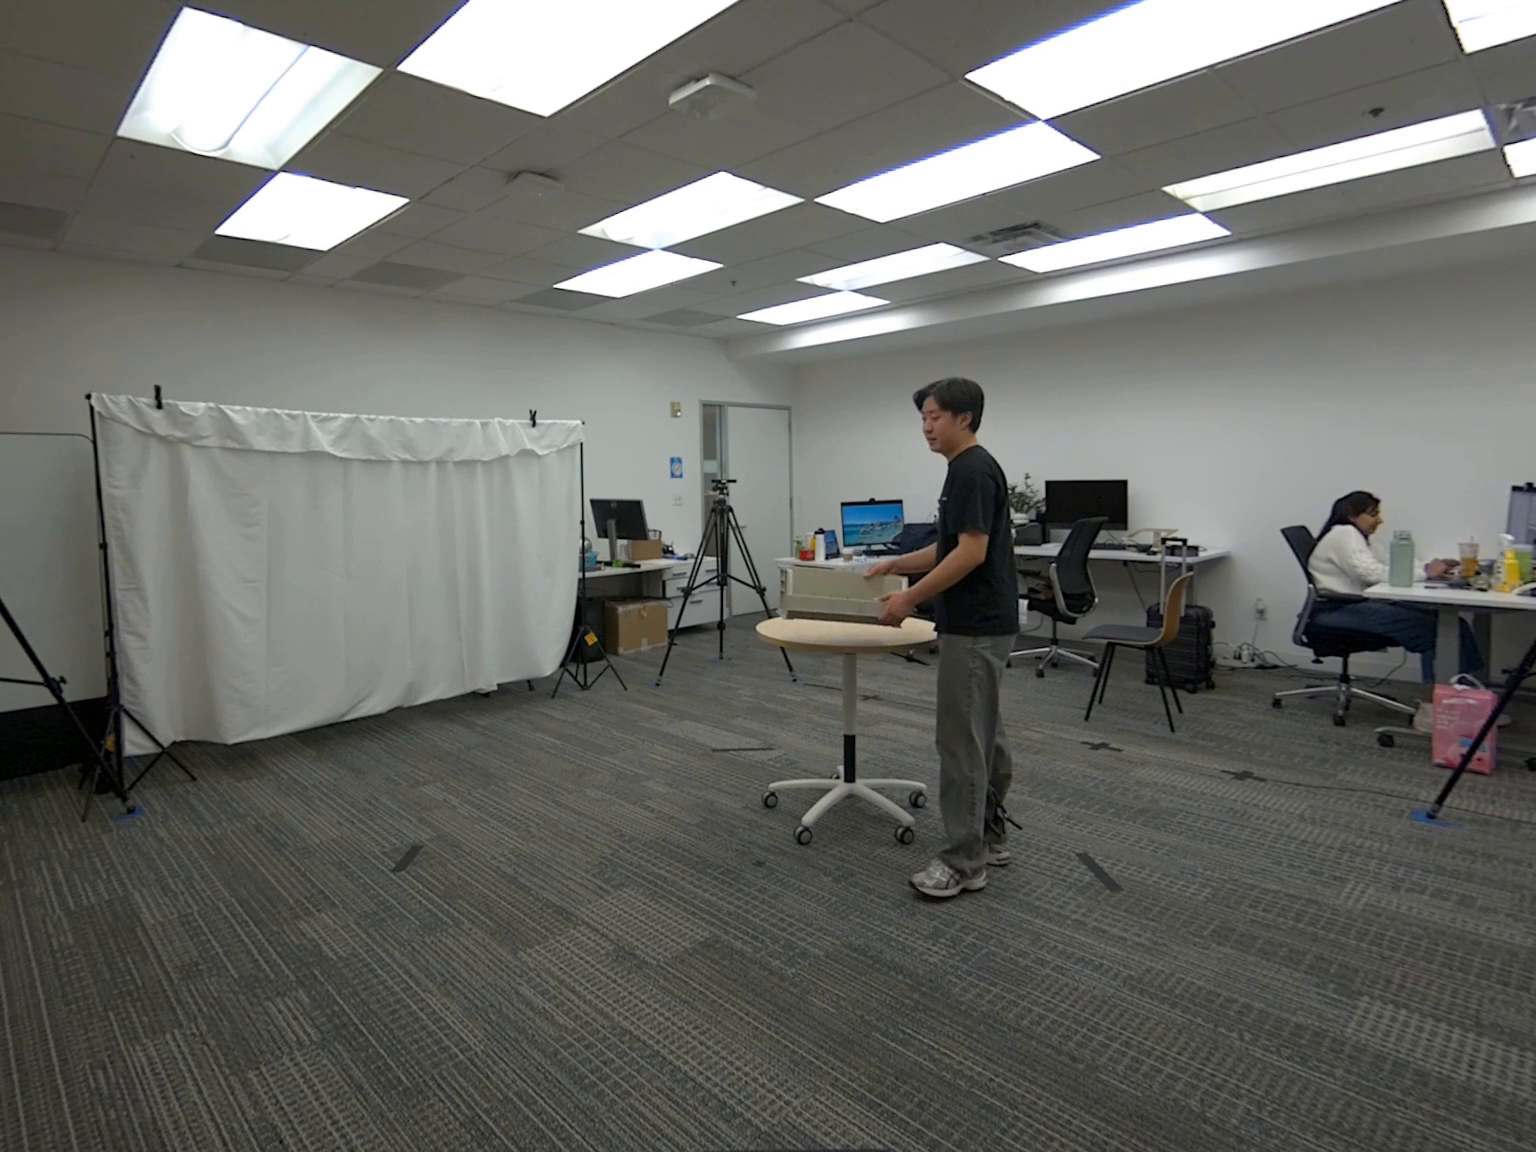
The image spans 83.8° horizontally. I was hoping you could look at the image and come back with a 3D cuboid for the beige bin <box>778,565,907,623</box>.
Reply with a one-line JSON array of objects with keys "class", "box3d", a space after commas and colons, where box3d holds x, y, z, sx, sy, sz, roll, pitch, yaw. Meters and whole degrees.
[{"class": "beige bin", "box3d": [0.258, 0.082, 3.090, 0.422, 0.189, 0.377, 5, 1, -1]}]
